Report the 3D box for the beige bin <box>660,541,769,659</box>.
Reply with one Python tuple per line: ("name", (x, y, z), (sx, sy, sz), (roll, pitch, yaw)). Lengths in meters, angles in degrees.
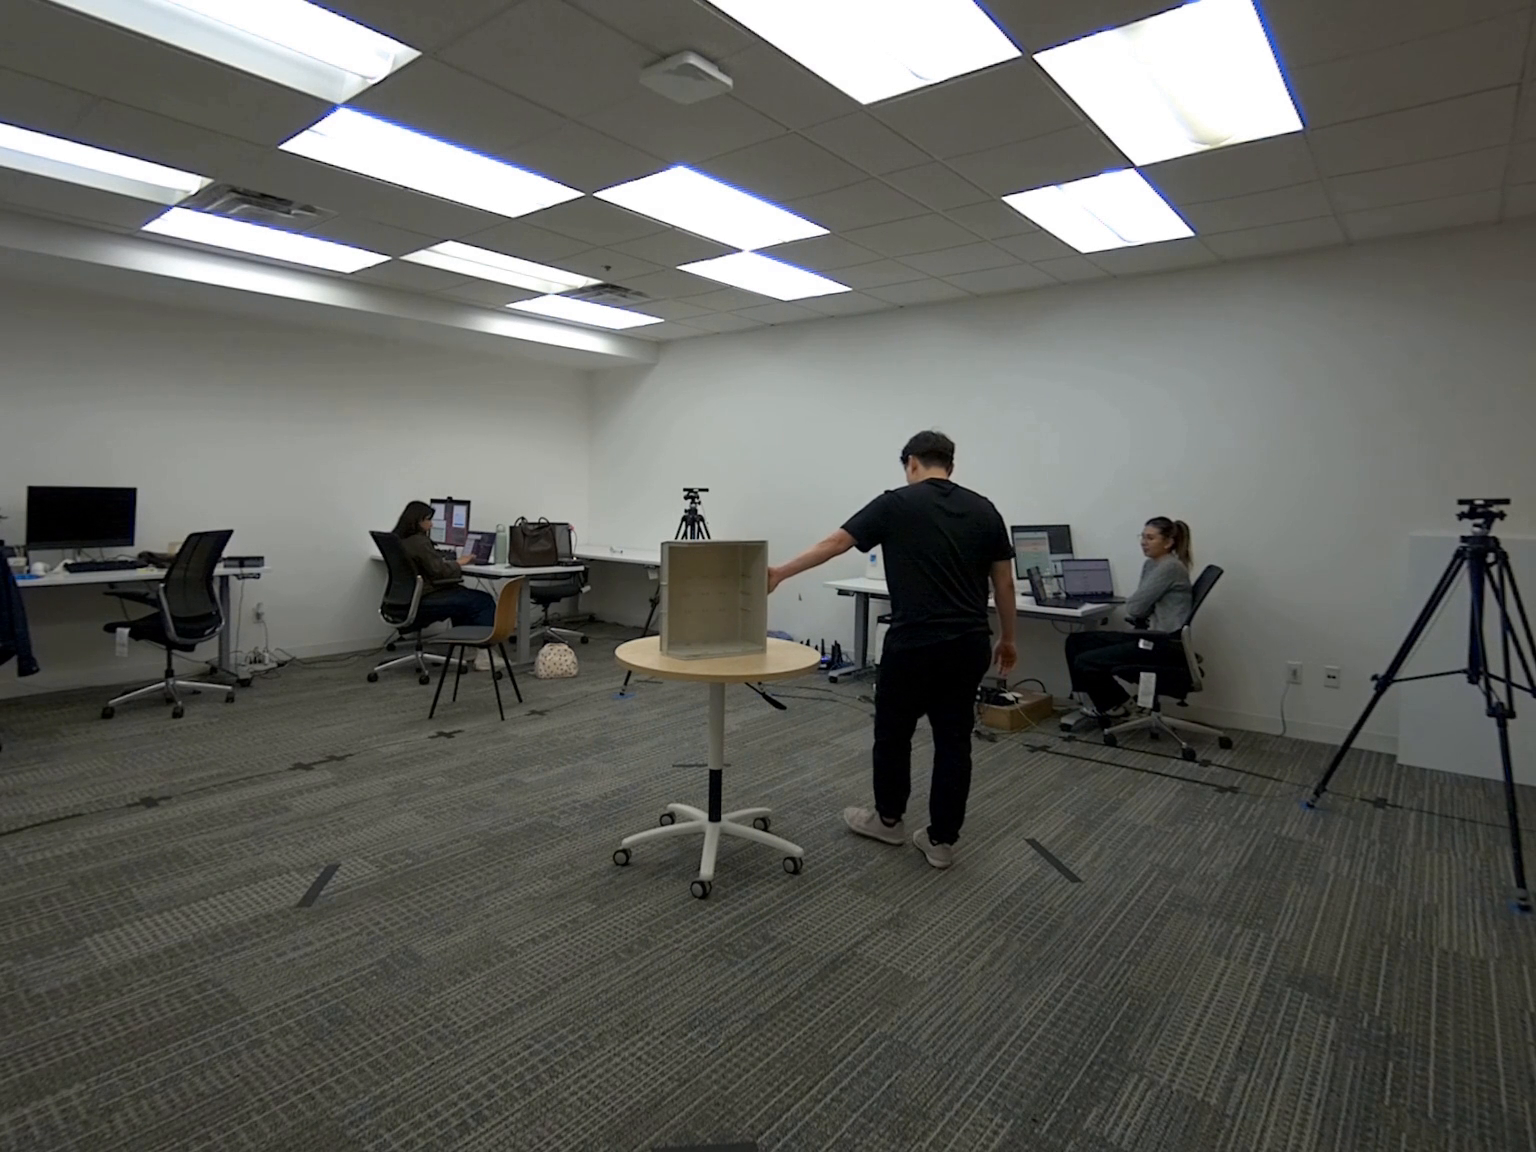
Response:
("beige bin", (-0.220, 0.073, 3.157), (0.367, 0.421, 0.194), (-3, 3, -32))
